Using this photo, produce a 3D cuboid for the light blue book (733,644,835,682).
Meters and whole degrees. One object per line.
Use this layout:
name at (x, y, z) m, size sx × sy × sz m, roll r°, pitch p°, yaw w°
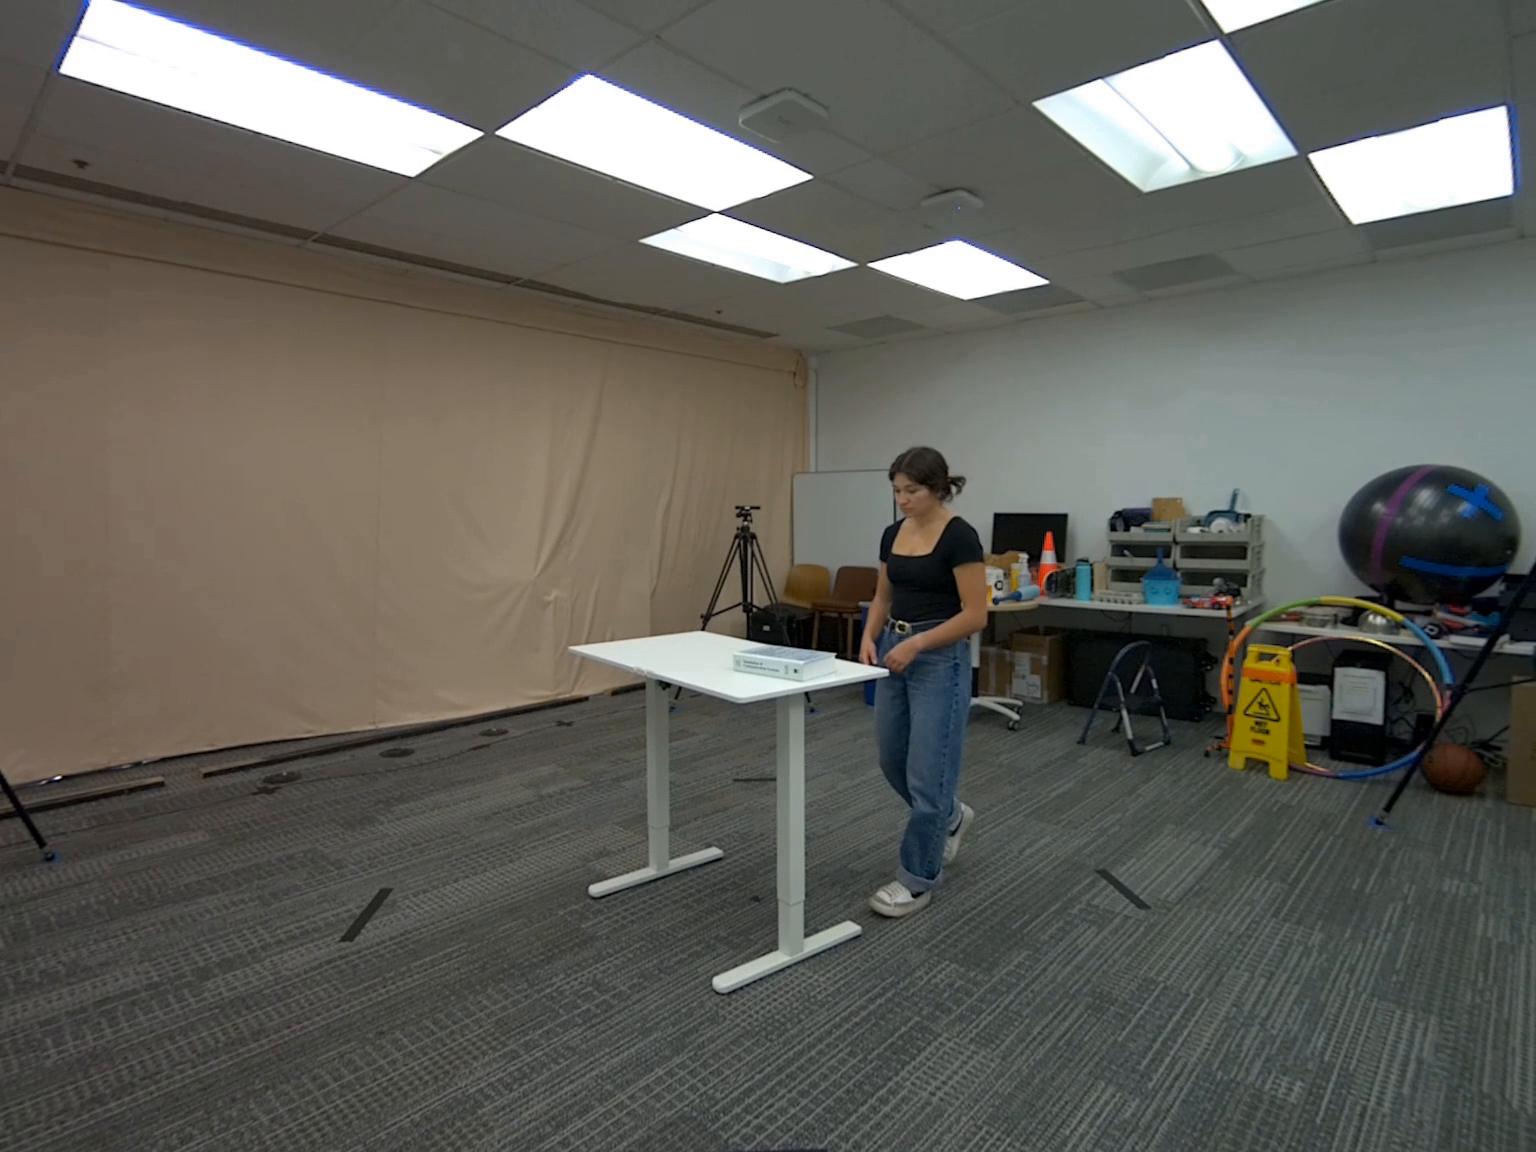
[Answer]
light blue book at (0.054, 0.268, 2.596) m, size 0.269 × 0.059 × 0.186 m, roll 4°, pitch 7°, yaw 38°
